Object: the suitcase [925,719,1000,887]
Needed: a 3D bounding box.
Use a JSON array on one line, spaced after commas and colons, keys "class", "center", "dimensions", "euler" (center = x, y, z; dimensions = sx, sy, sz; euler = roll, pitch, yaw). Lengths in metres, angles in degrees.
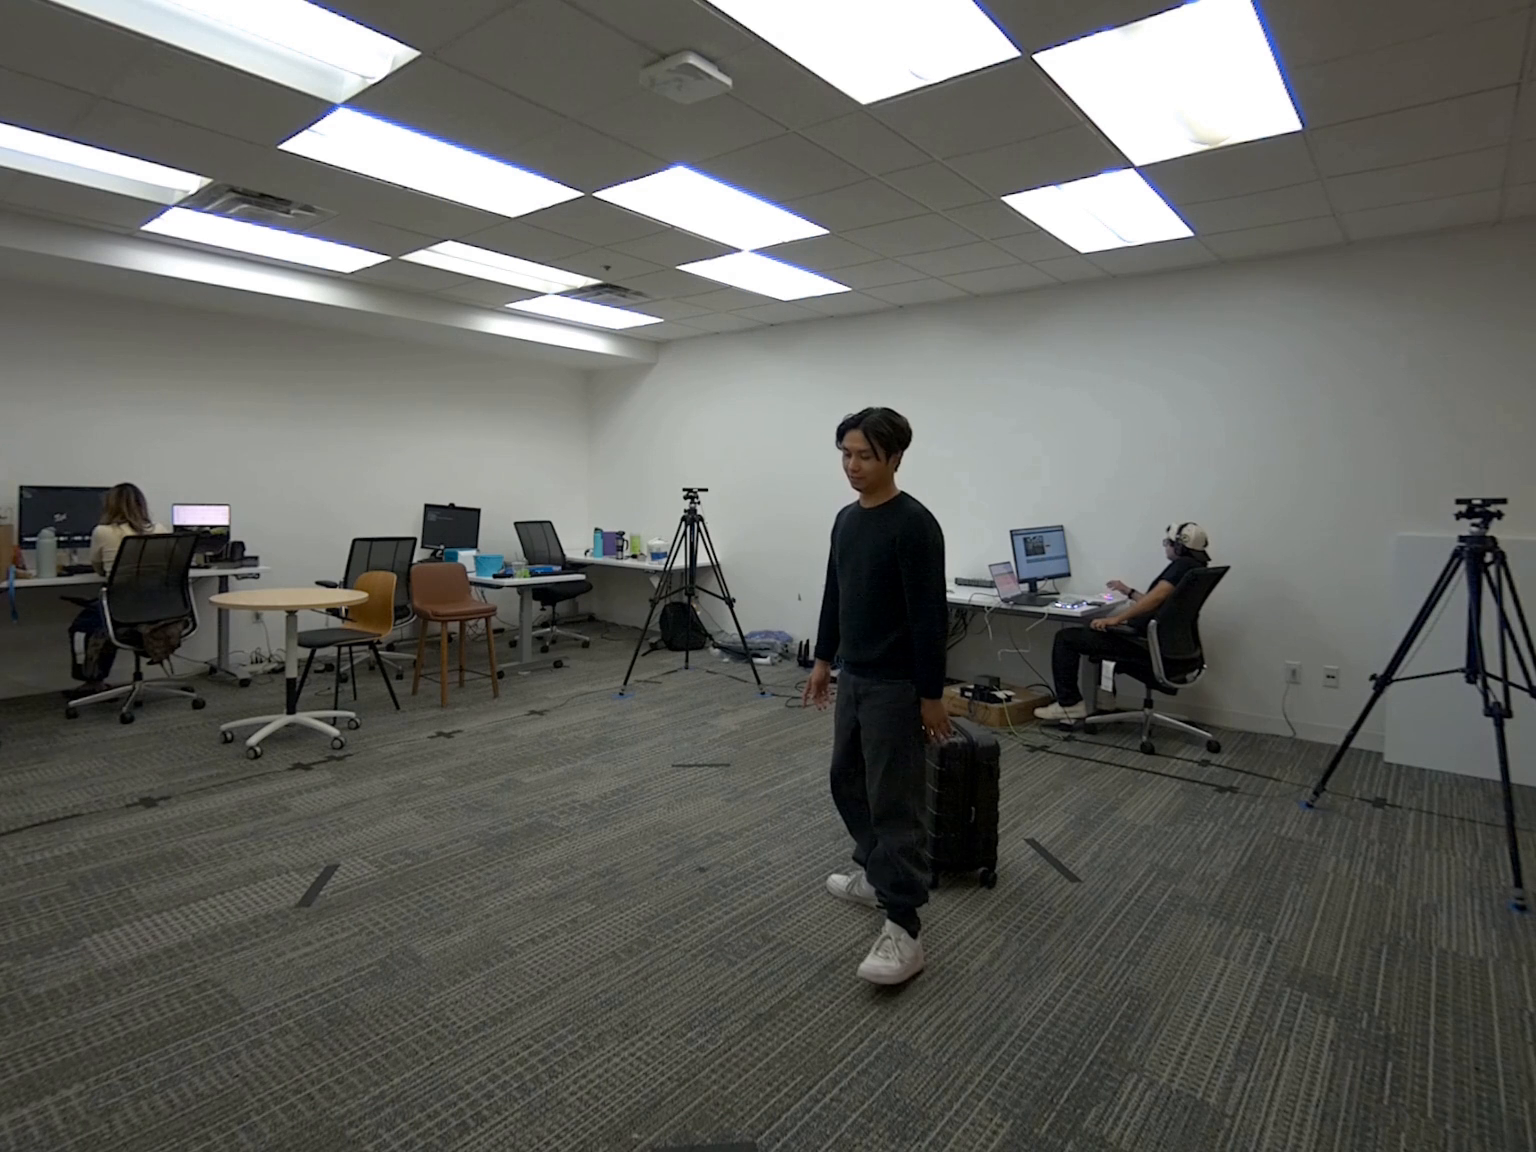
[{"class": "suitcase", "center": [0.675, 0.808, 3.170], "dimensions": [0.246, 0.548, 0.380], "euler": [2, 3, -9]}]
